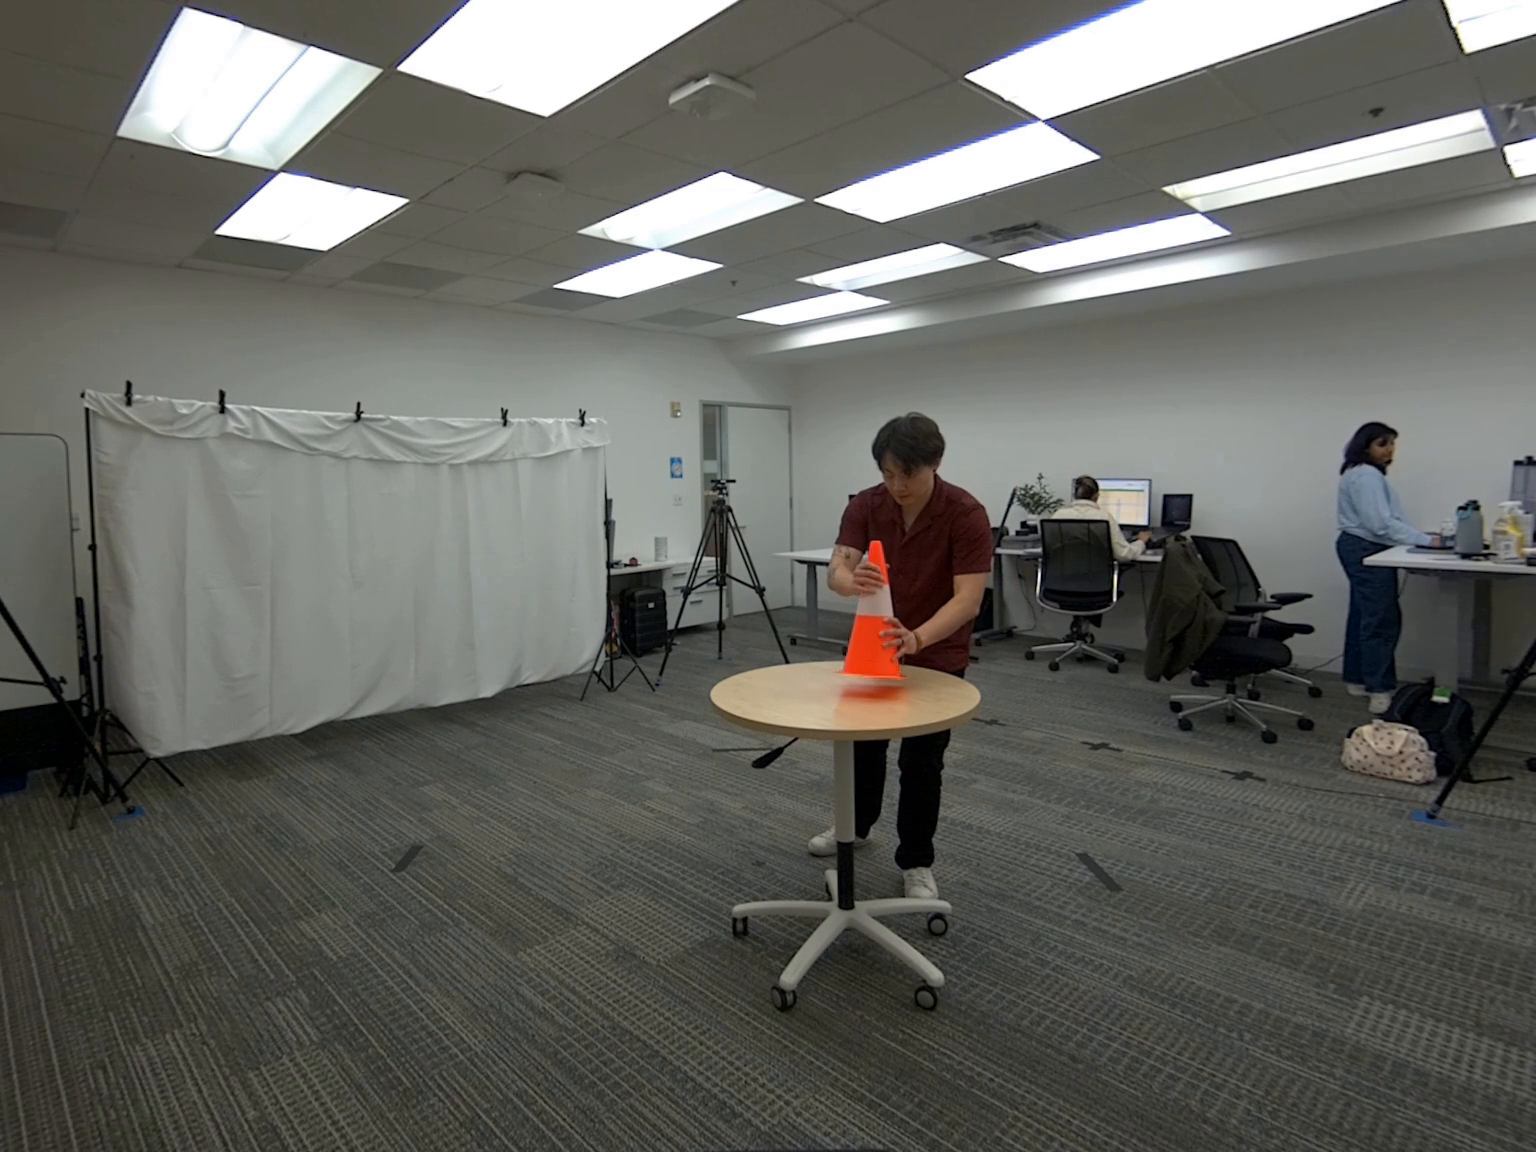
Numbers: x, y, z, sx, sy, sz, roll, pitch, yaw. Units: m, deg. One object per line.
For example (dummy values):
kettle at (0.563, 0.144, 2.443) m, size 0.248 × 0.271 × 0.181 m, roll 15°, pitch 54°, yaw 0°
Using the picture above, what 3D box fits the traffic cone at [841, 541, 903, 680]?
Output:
traffic cone at (0.317, 0.098, 2.433) m, size 0.205 × 0.384 × 0.202 m, roll 1°, pitch -2°, yaw 10°
